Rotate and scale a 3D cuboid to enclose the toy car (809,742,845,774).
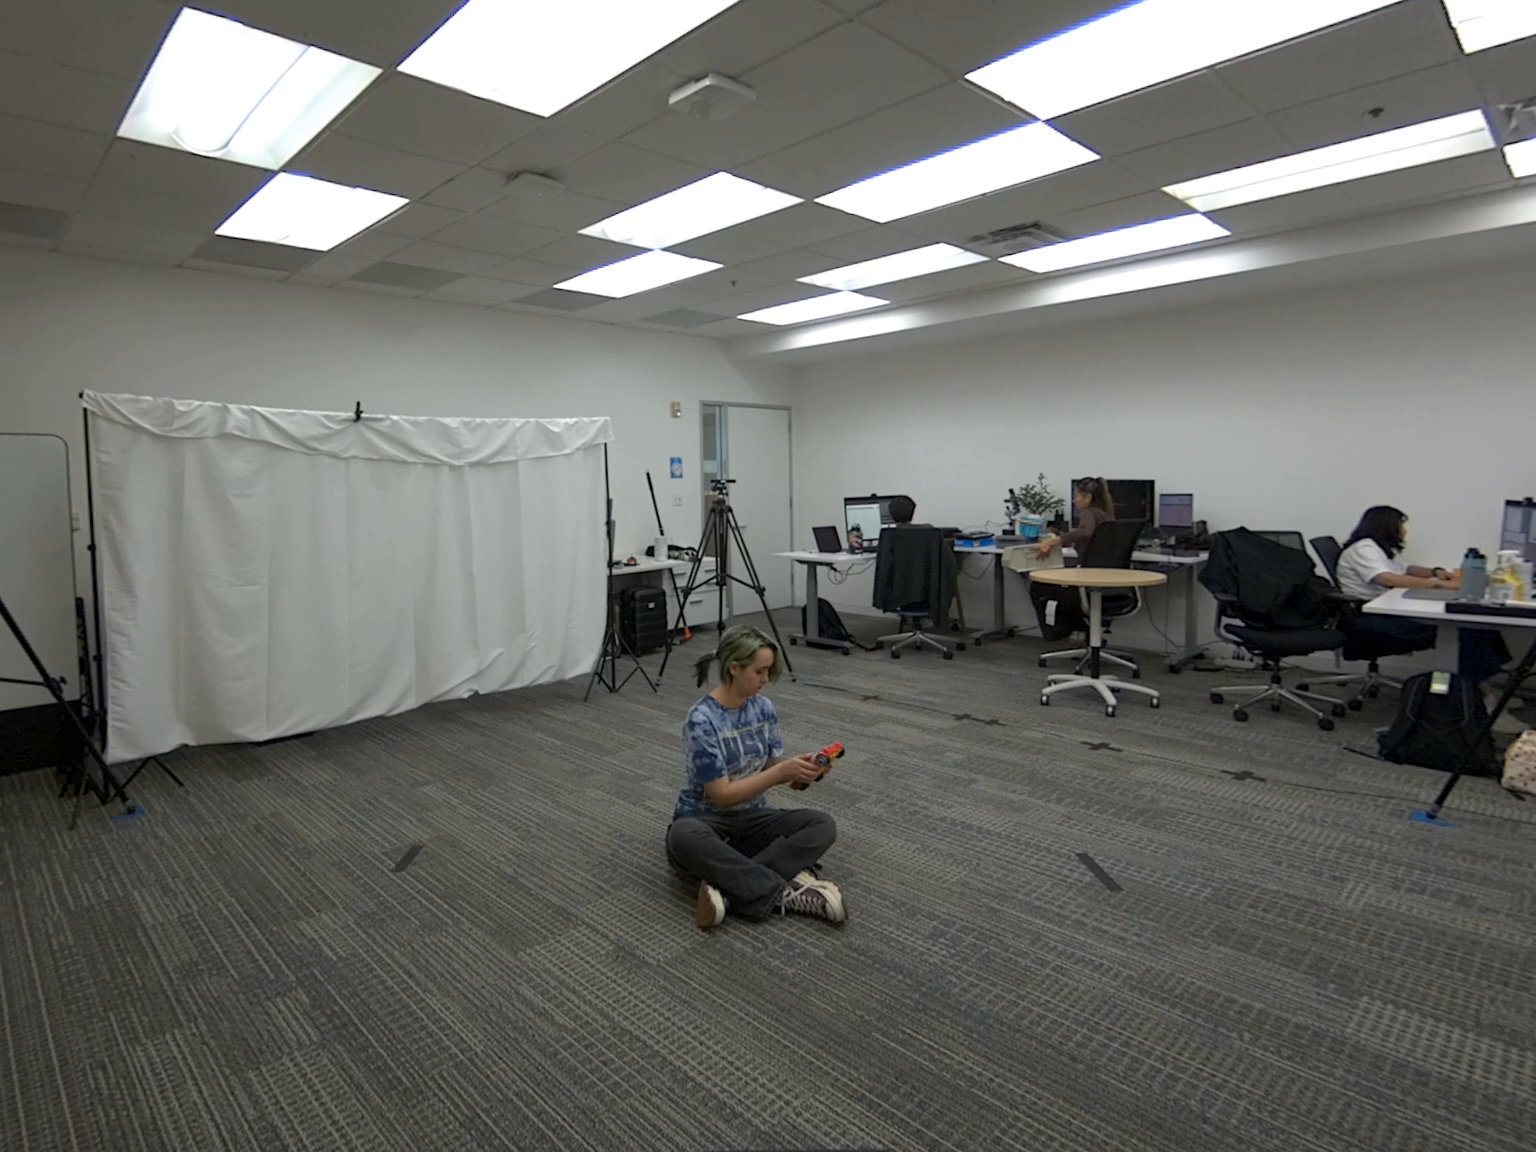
[{"bbox_3d":[0.163,0.676,2.991,0.127,0.085,0.255,-12,-22,-46],"label":"toy car"}]
